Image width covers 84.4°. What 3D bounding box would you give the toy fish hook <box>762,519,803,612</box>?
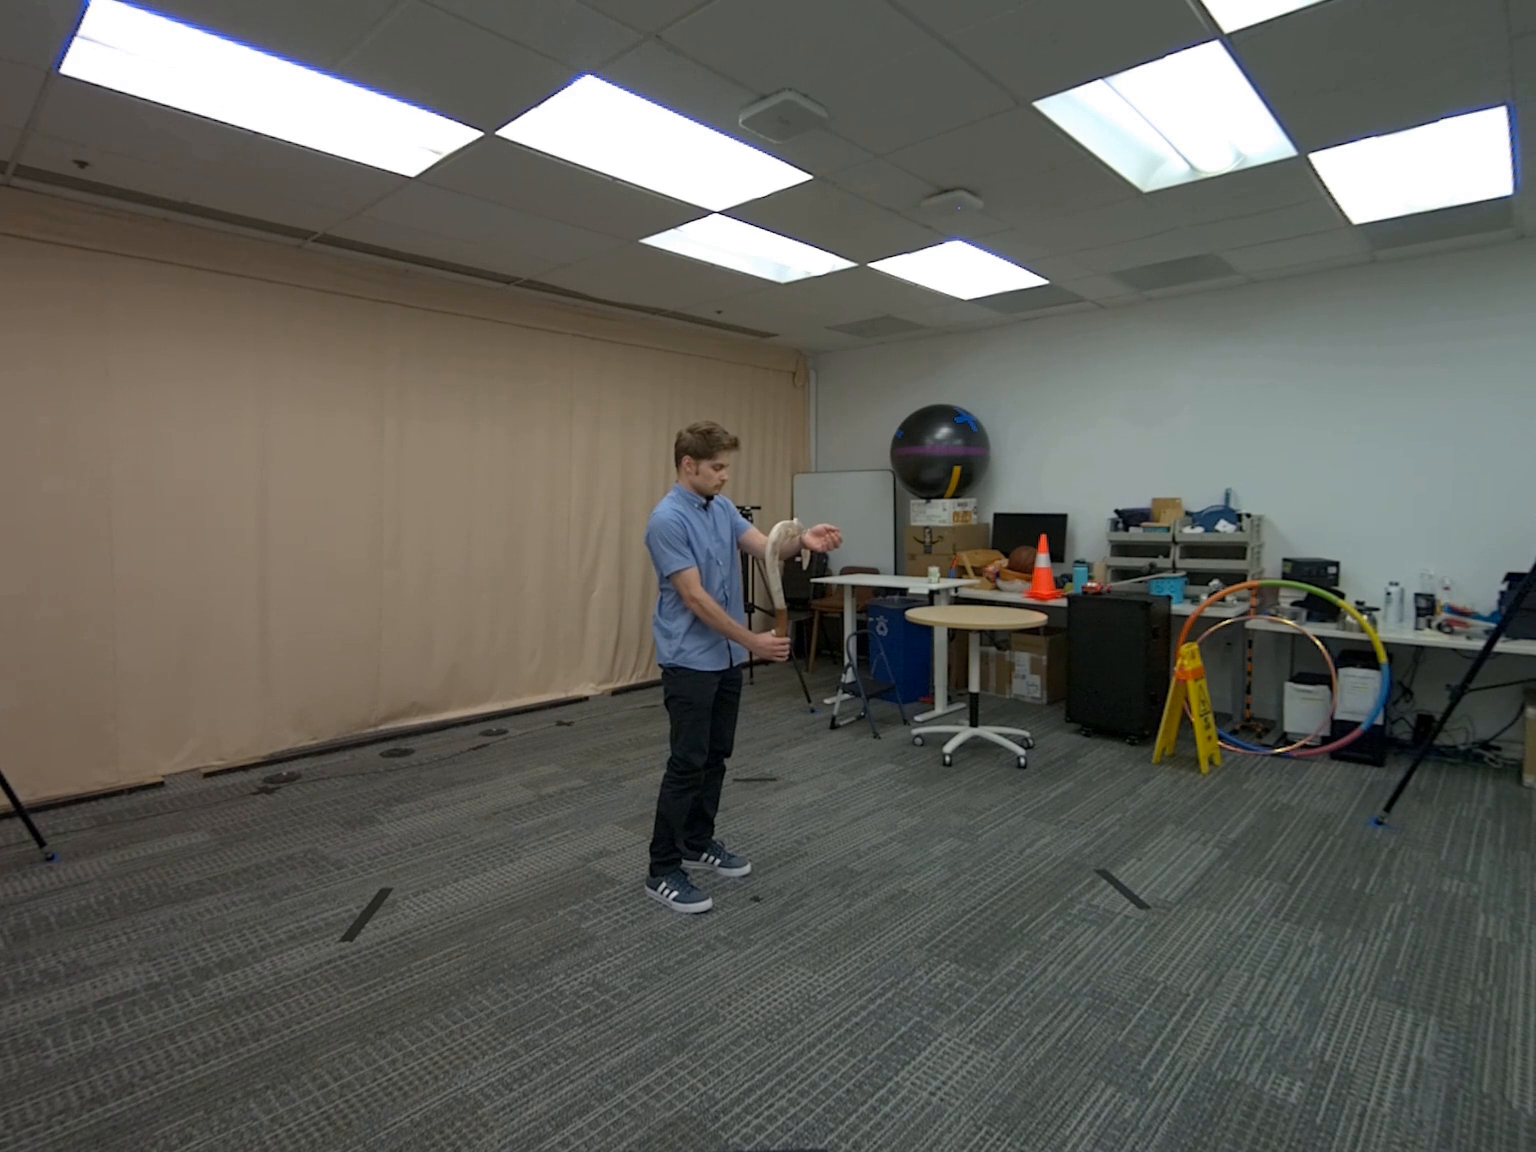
[{"bbox_3d":[0.081,0.050,3.013,0.218,0.502,0.050,-10,17,-38],"label":"toy fish hook"}]
